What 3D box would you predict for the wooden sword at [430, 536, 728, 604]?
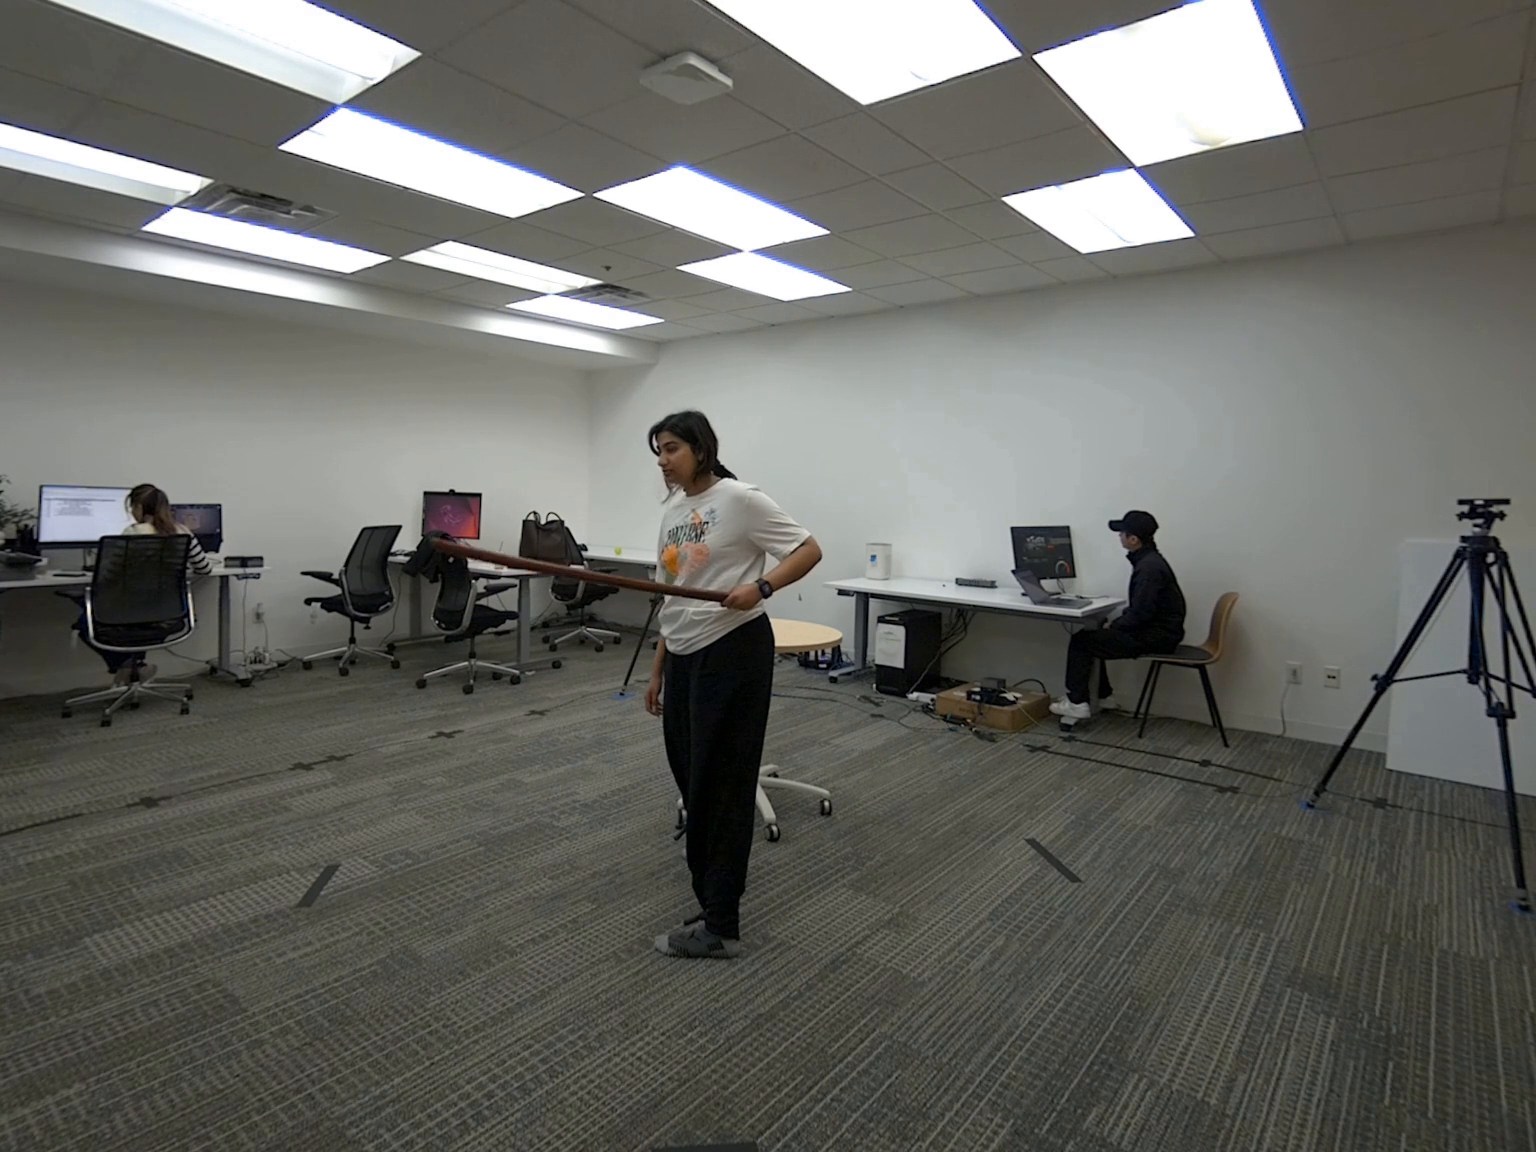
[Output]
[{"bbox_3d":[-0.445,0.010,2.280,0.988,0.024,0.053,13,33,-36],"label":"wooden sword"}]
